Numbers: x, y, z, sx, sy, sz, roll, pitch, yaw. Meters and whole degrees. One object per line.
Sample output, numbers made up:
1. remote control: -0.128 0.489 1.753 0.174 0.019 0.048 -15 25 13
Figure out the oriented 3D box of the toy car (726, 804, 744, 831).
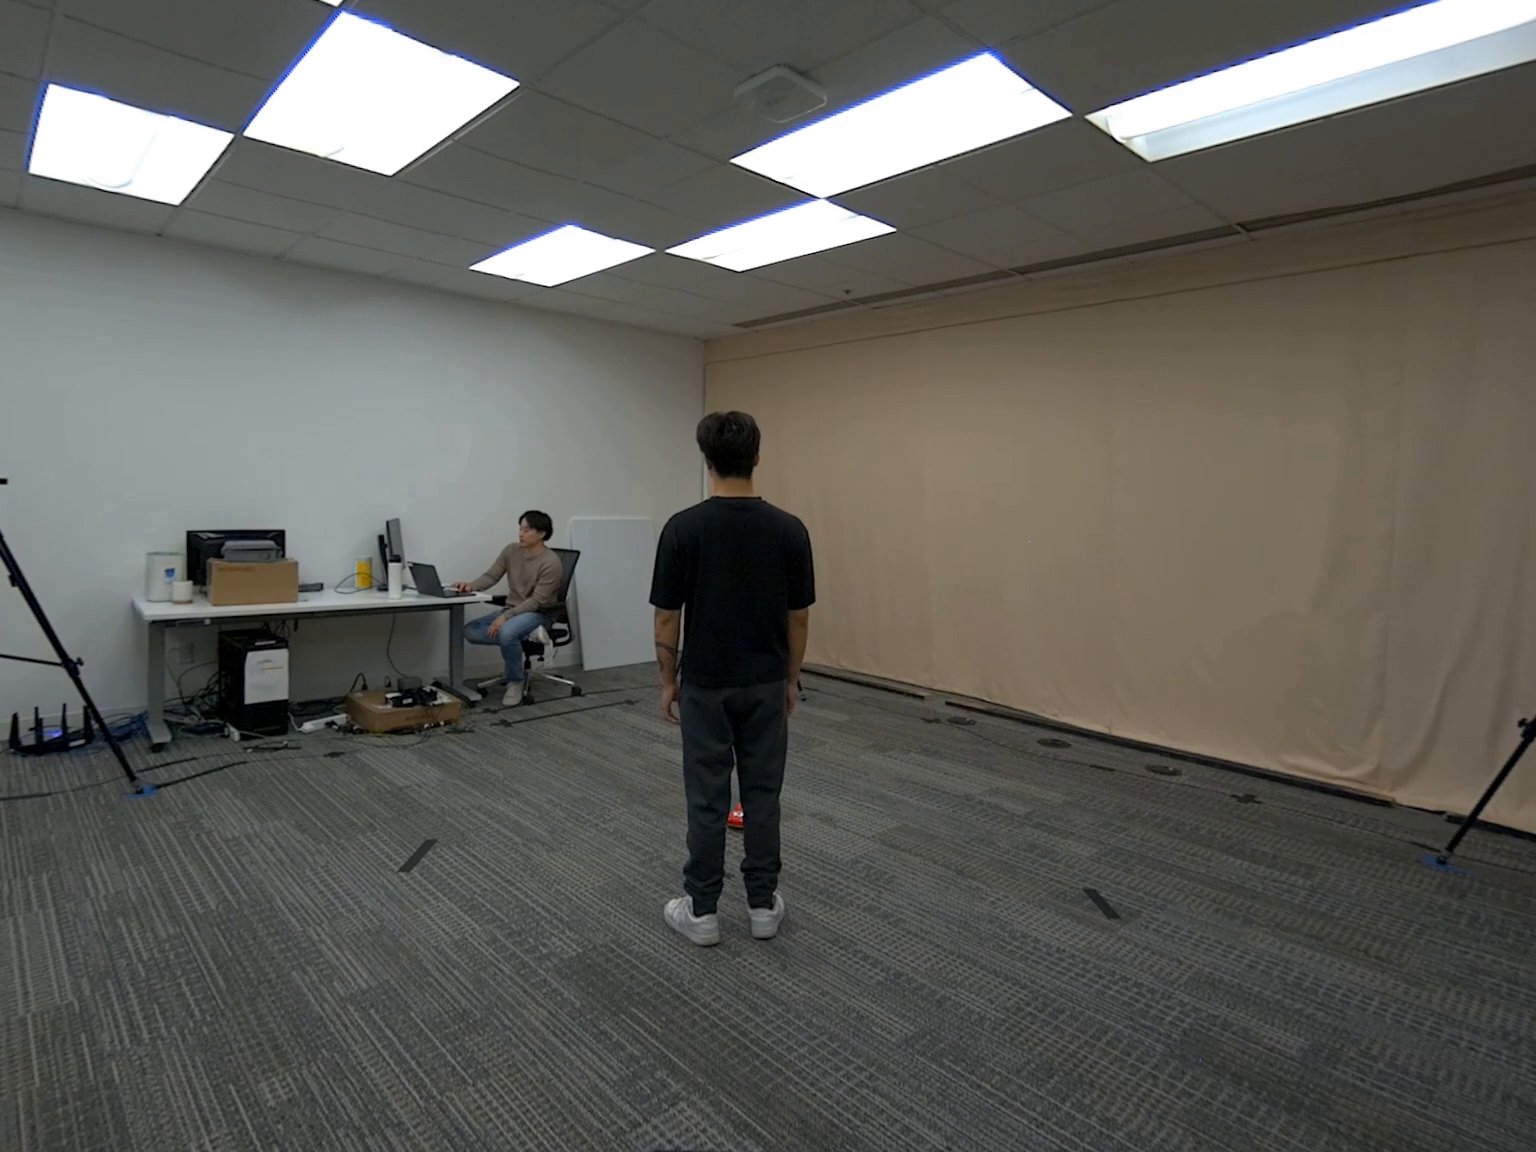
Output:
1. toy car: -0.112 1.036 3.632 0.132 0.083 0.250 2 -5 18
